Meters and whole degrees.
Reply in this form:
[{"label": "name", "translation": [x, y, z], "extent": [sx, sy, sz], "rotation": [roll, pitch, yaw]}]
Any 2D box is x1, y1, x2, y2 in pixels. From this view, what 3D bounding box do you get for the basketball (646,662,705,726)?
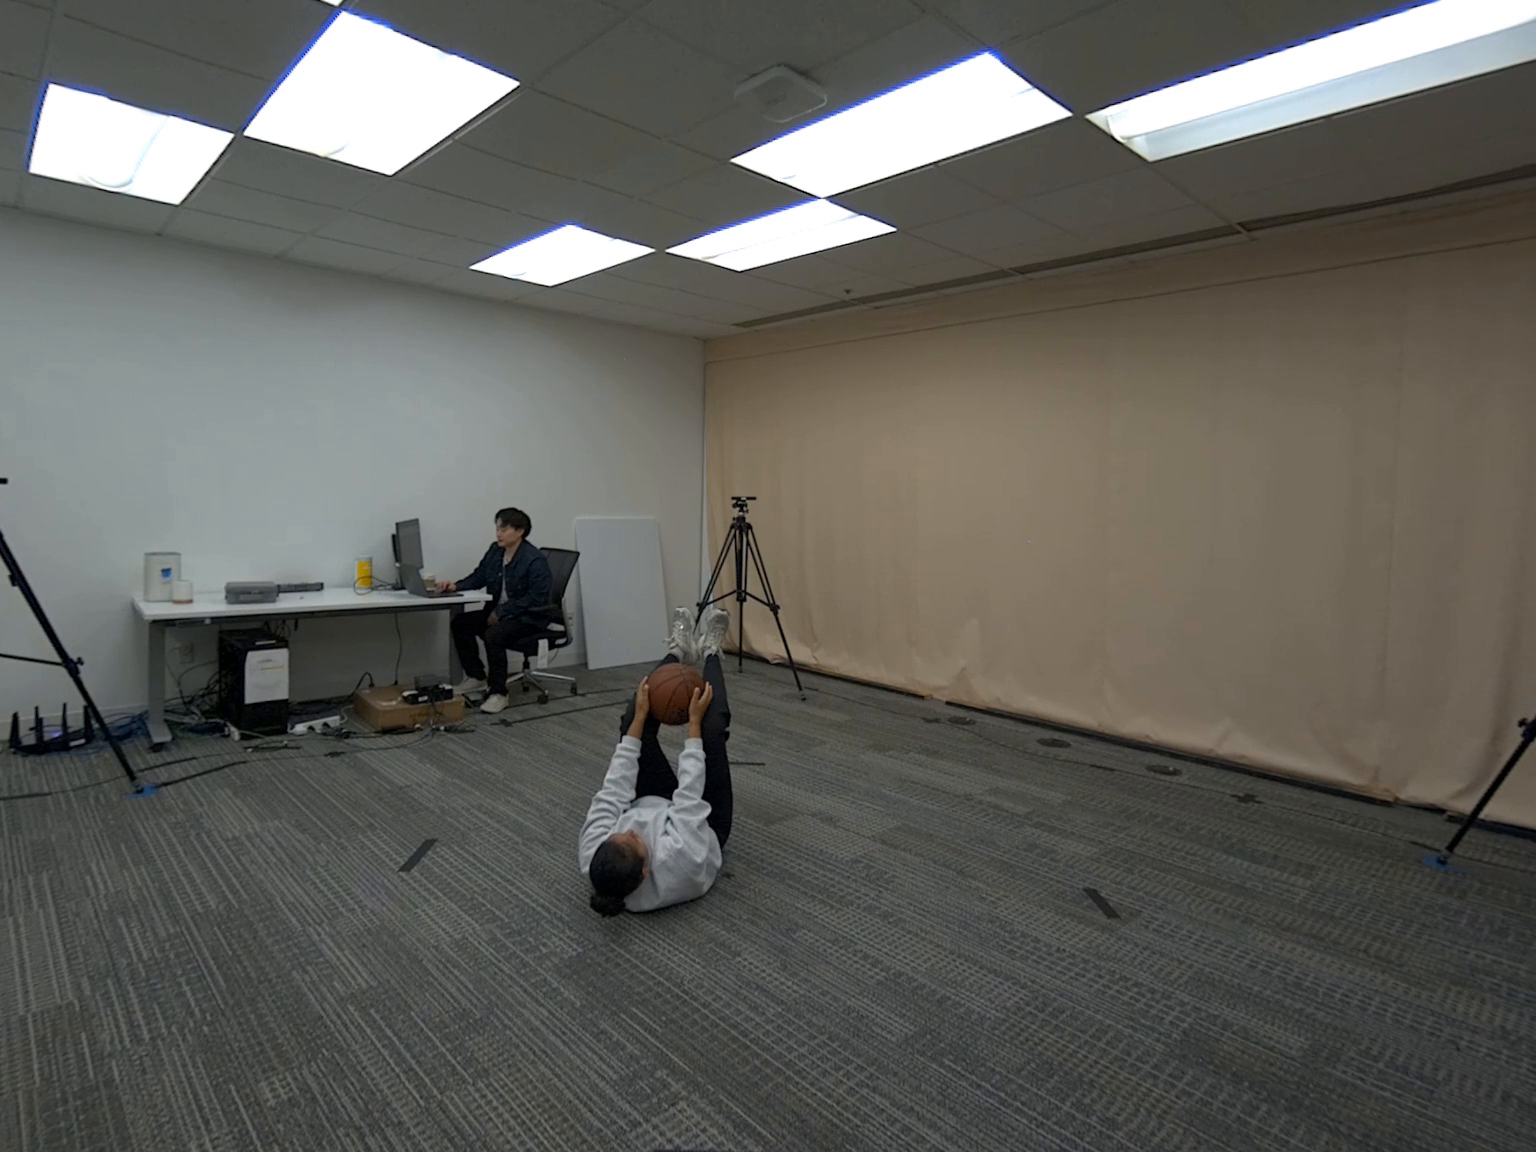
[{"label": "basketball", "translation": [-0.369, 0.453, 3.246], "extent": [0.236, 0.235, 0.237], "rotation": [1, 5, -1]}]
